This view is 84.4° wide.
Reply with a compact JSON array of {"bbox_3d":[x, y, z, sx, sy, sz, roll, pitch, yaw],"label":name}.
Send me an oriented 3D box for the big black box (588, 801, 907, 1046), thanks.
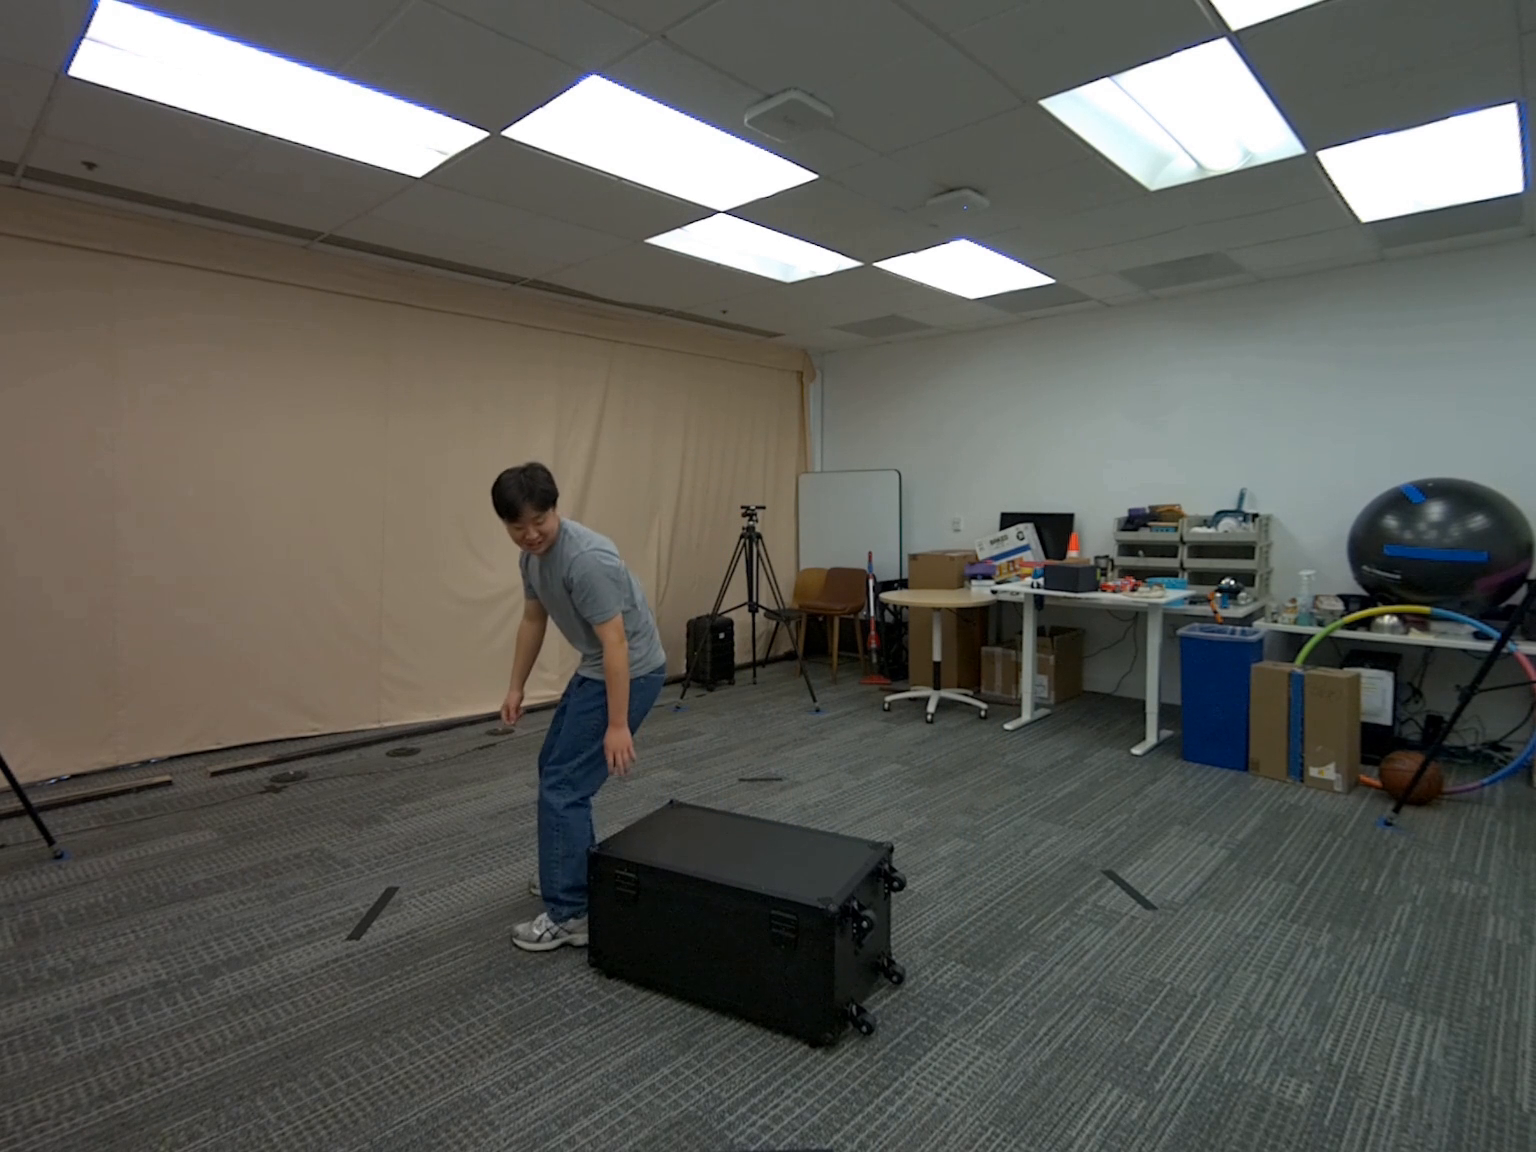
[{"bbox_3d":[-0.049,0.995,2.498,0.885,0.395,0.508,2,4,28],"label":"big black box"}]
